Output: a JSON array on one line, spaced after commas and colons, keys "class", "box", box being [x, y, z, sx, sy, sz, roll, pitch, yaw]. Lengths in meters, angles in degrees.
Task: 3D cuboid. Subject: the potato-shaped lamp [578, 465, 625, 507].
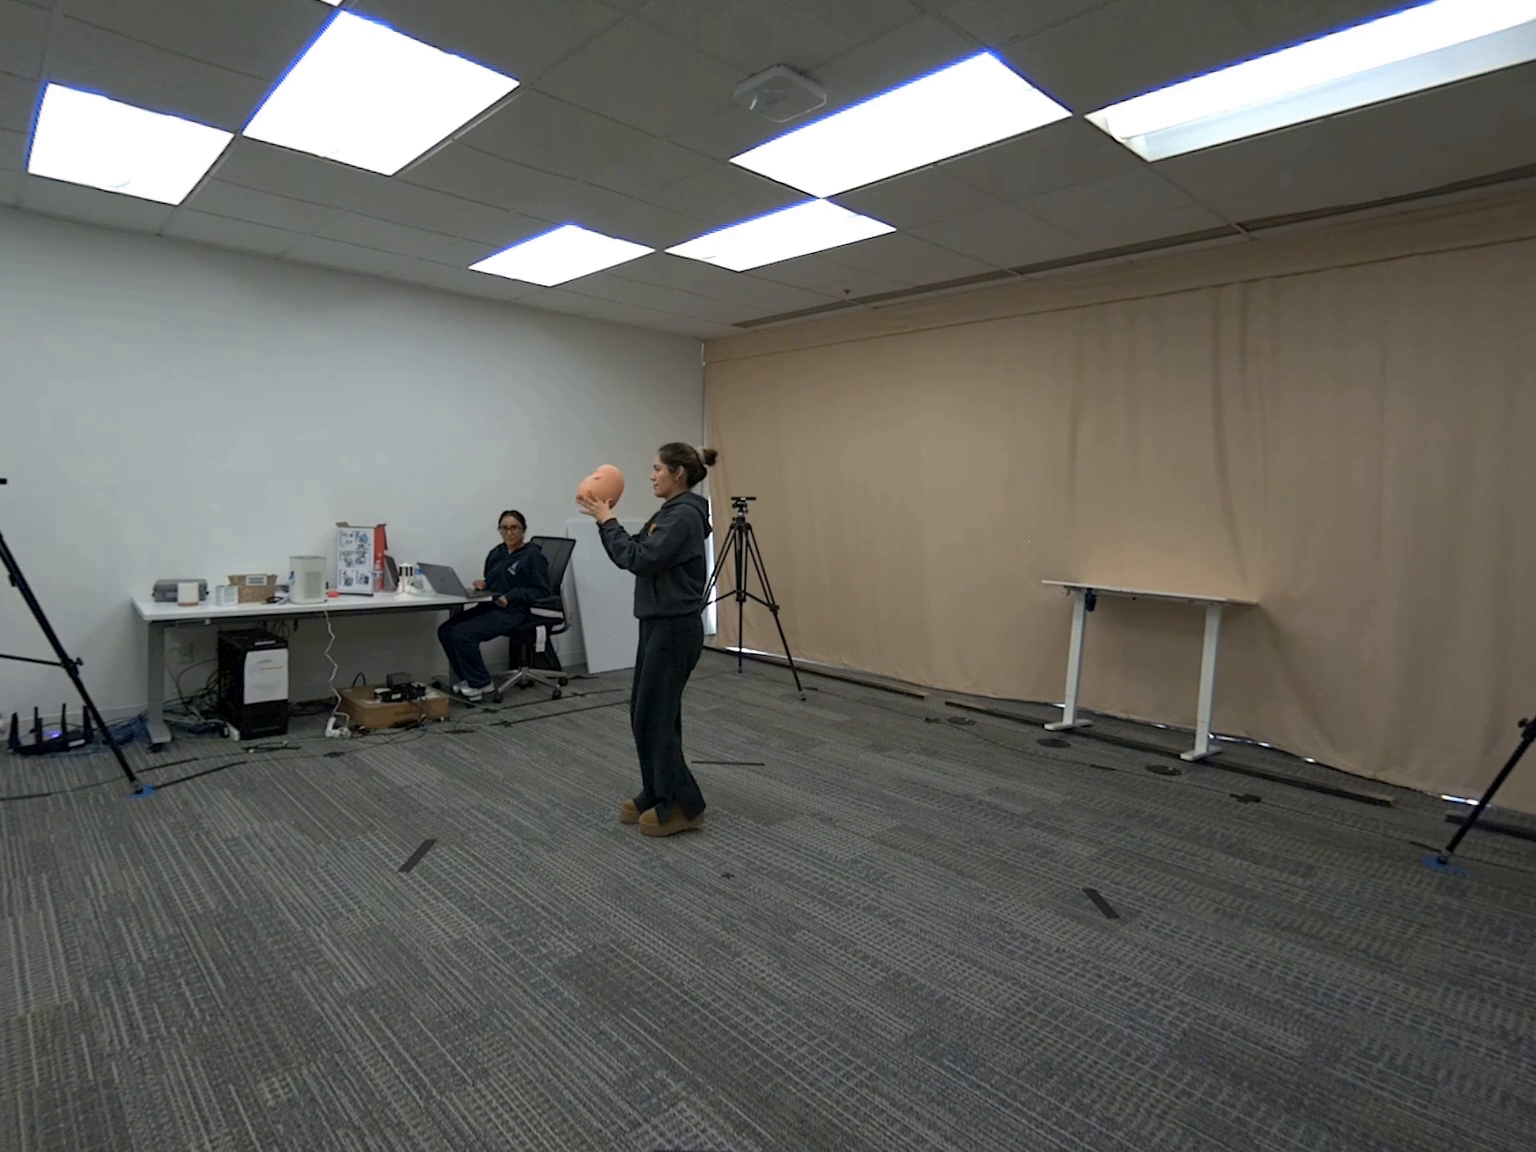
[{"class": "potato-shaped lamp", "box": [-0.703, -0.378, 3.536, 0.168, 0.199, 0.167, 30, -13, -22]}]
